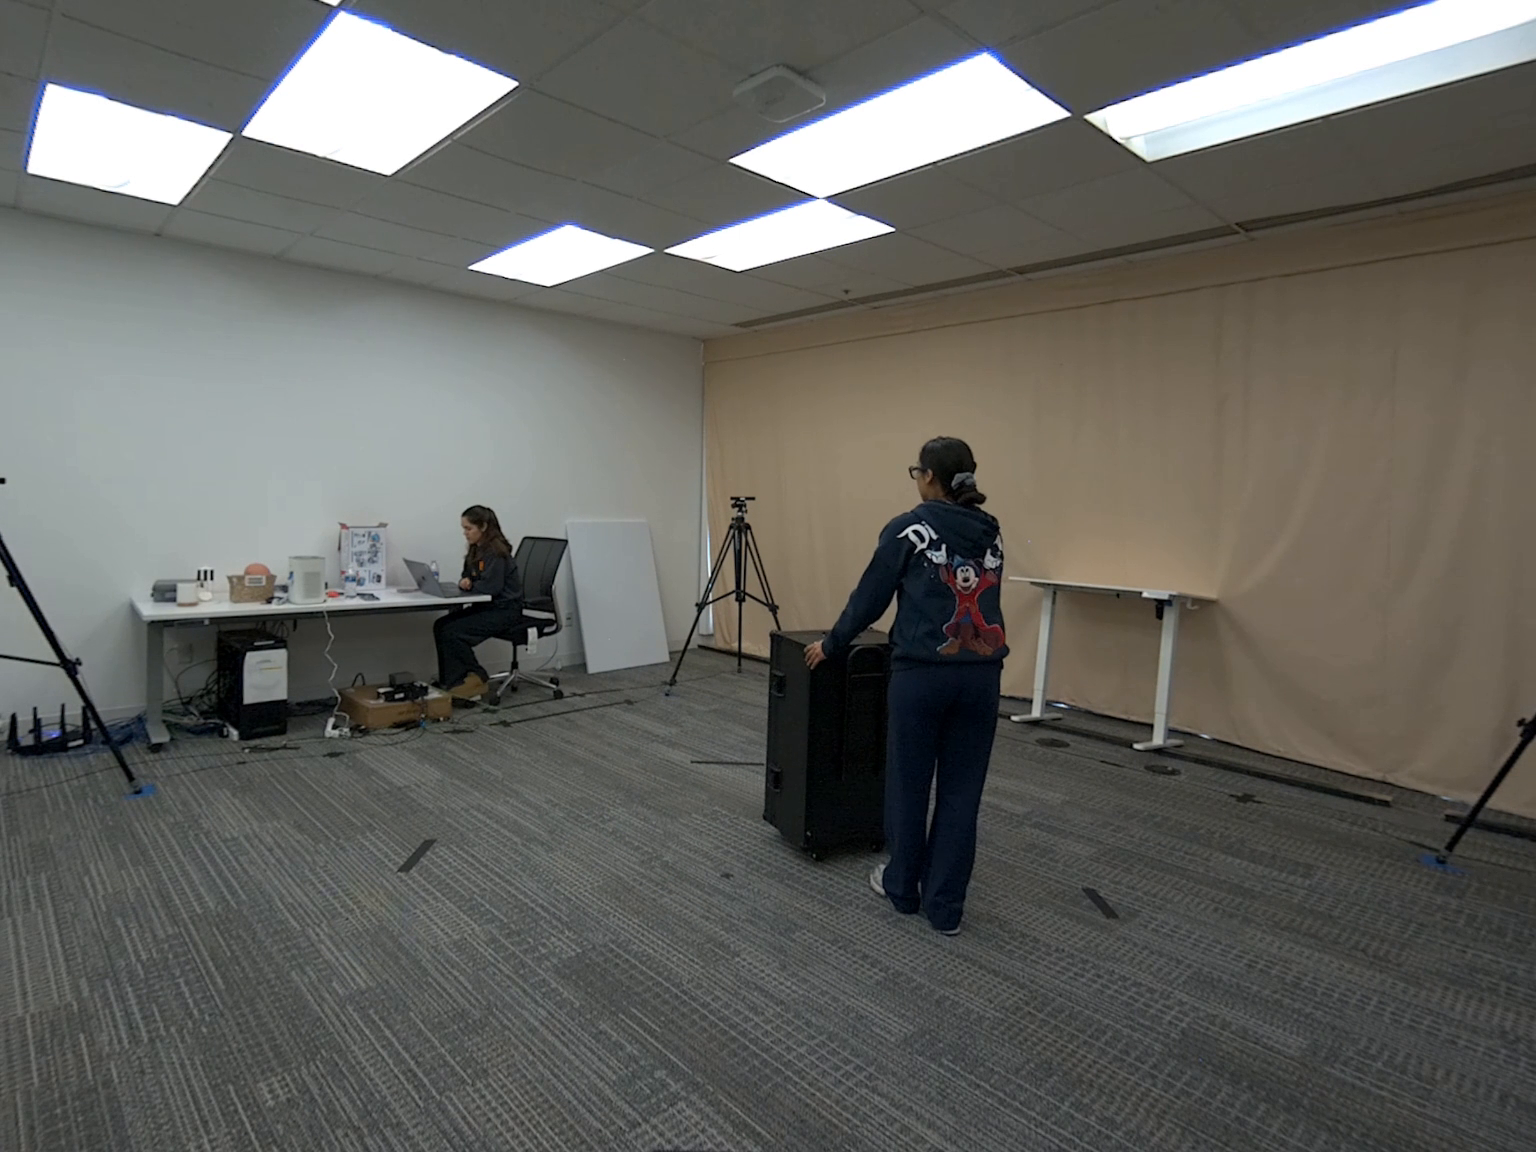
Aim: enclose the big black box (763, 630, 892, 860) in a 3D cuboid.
[{"bbox_3d":[0.287,0.668,3.393,0.512,0.859,0.405,1,5,-25],"label":"big black box"}]
